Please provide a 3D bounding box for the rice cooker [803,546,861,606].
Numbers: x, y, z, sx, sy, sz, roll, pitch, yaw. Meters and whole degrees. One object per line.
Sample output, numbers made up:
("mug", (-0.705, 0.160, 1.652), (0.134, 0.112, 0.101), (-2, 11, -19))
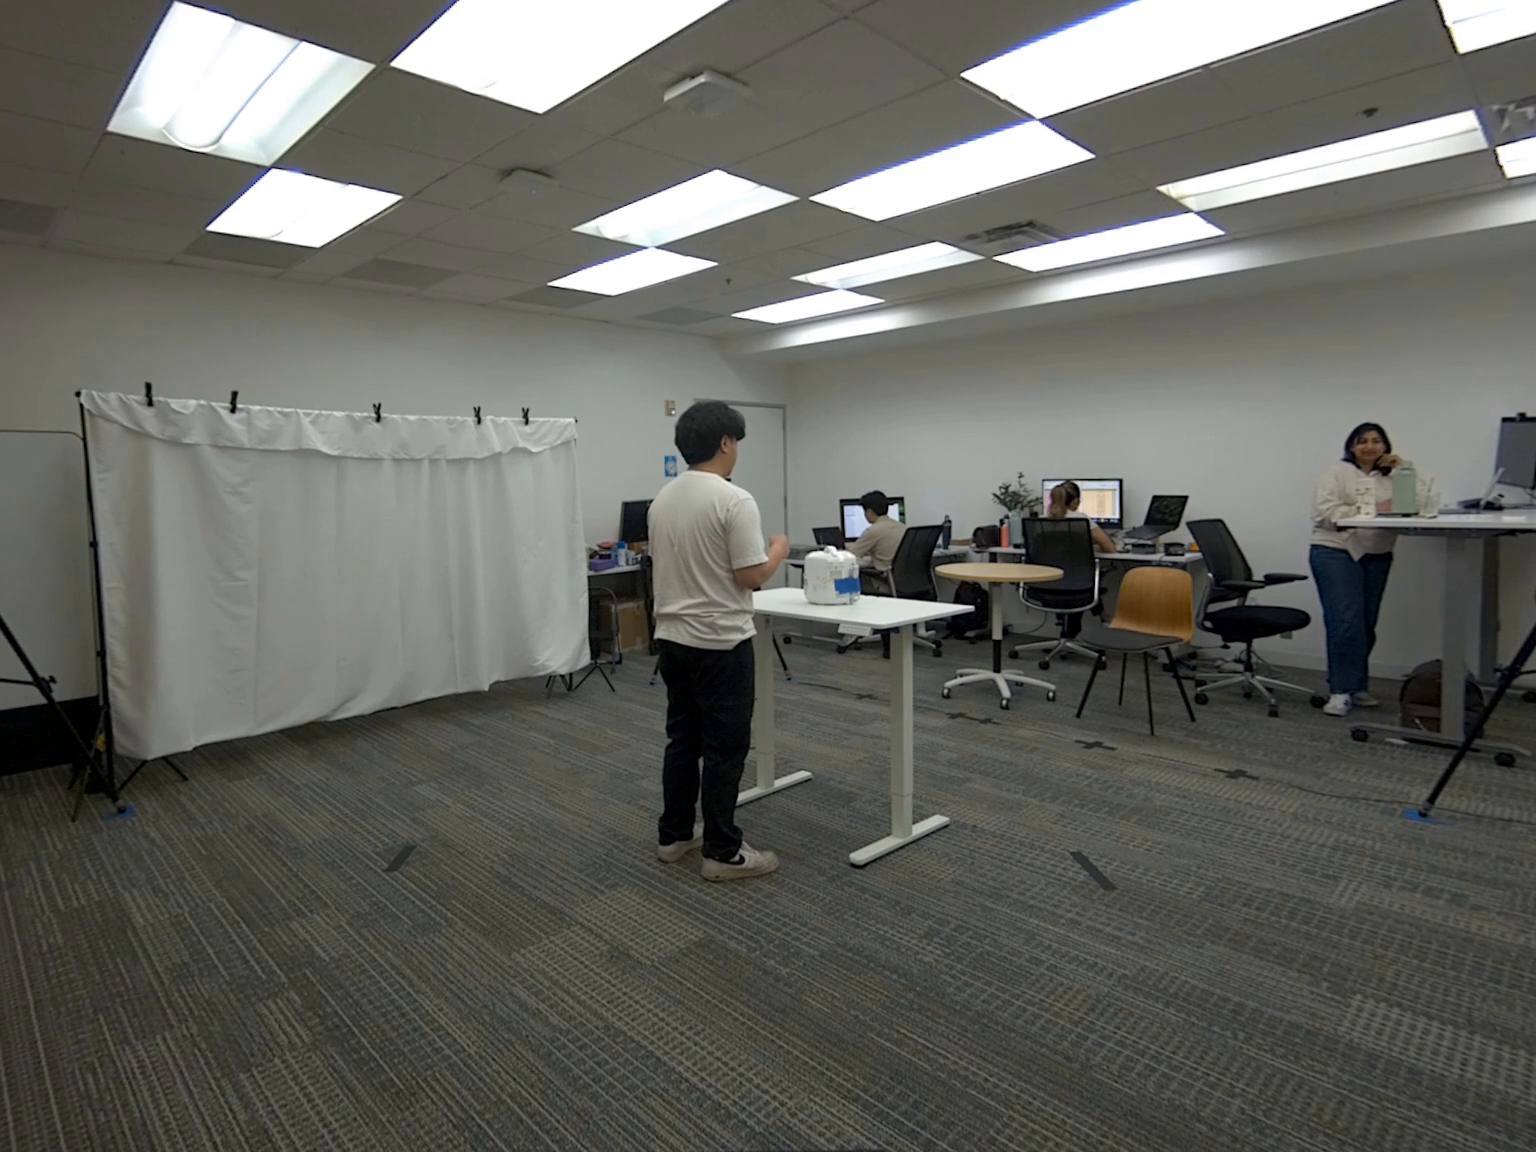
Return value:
("rice cooker", (0.261, -0.006, 3.490), (0.217, 0.232, 0.222), (-1, 3, -4))
